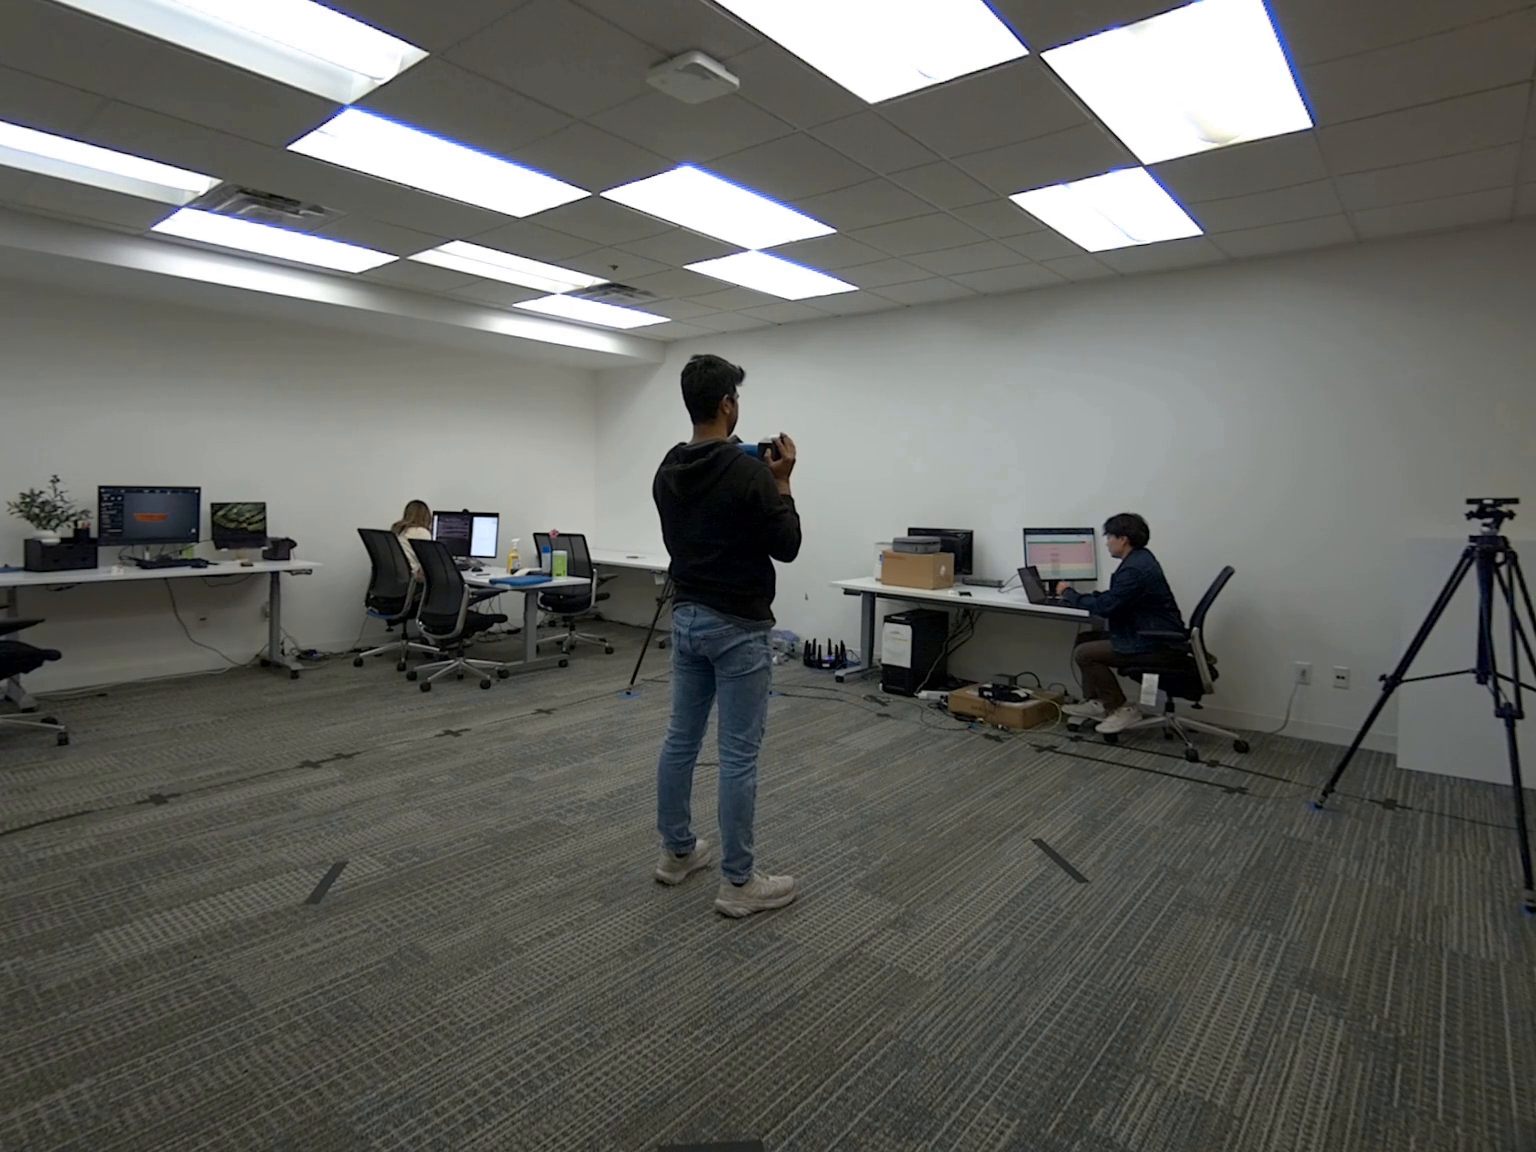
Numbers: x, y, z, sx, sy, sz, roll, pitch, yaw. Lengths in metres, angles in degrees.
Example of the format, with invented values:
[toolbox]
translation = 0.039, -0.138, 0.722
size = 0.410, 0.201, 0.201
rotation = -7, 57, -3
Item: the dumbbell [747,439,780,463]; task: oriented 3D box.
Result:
[dumbbell]
translation = -0.080, -0.444, 3.024
size = 0.304, 0.122, 0.106
rotation = 9, 11, 40
